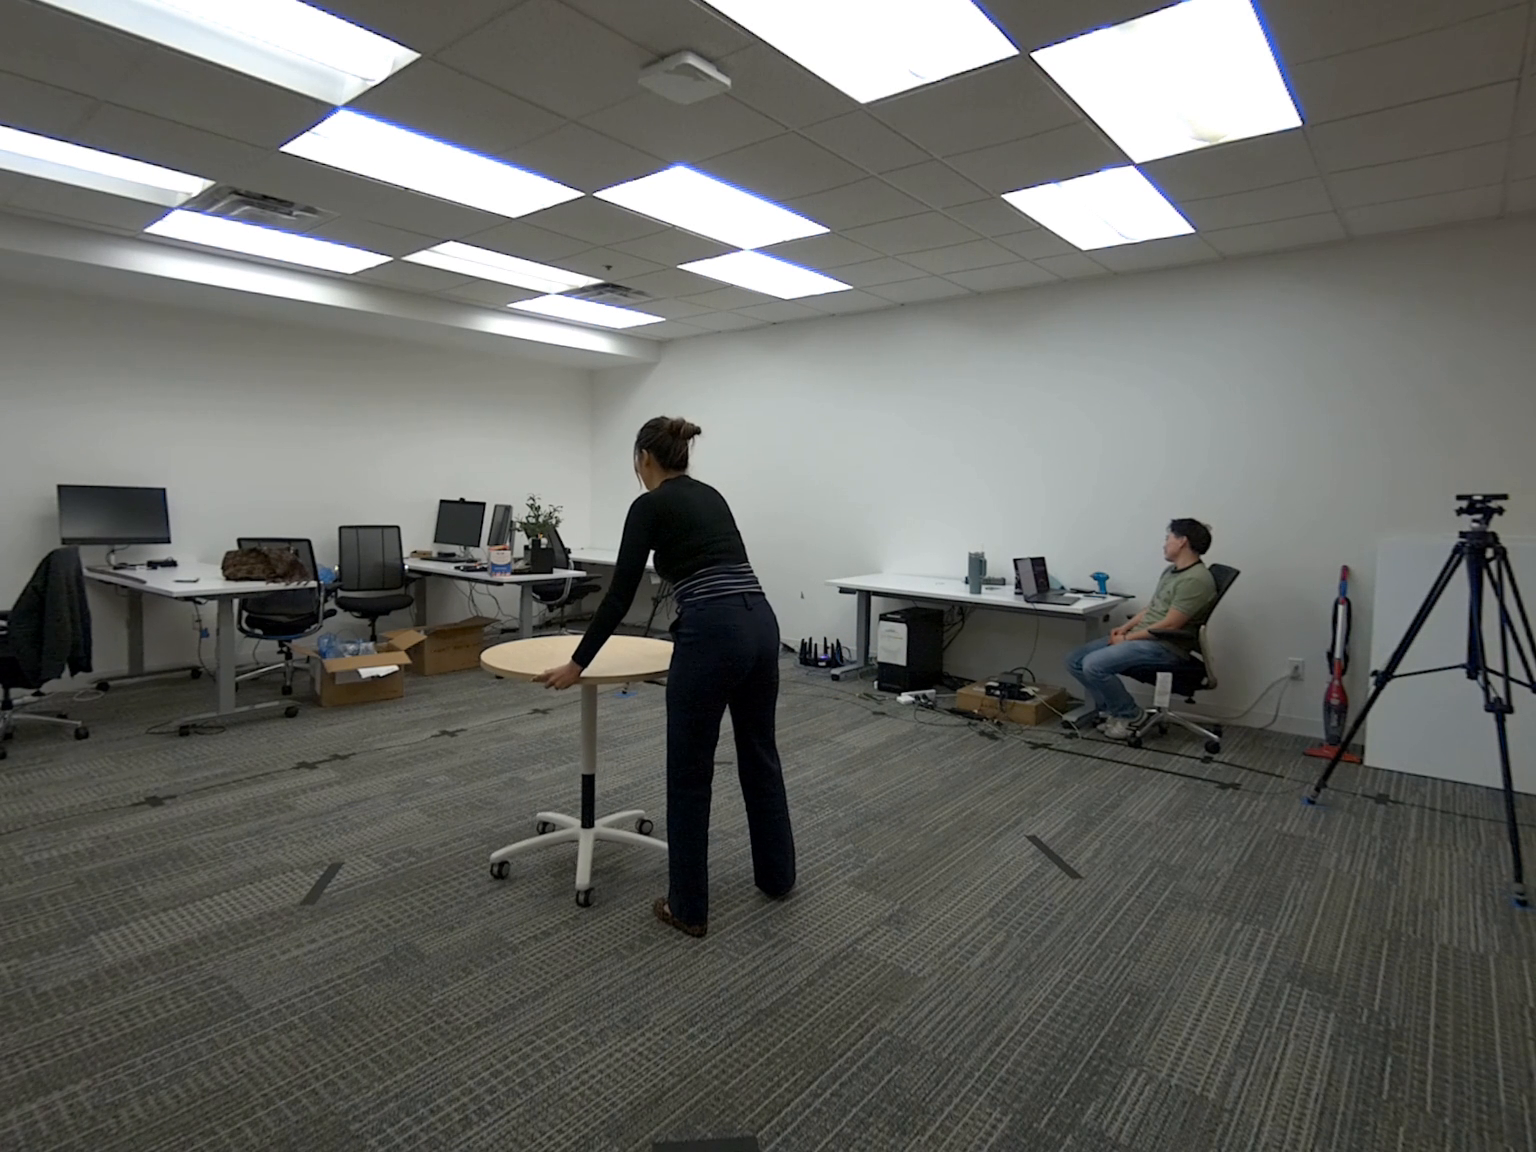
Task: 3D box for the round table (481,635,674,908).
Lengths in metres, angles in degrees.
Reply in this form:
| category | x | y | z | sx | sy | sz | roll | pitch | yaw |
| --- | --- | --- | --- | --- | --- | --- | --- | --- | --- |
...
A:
| category | x | y | z | sx | sy | sz | roll | pitch | yaw |
| --- | --- | --- | --- | --- | --- | --- | --- | --- | --- |
| round table | -0.661 | 0.670 | 3.112 | 0.763 | 0.792 | 0.767 | 1 | 4 | -2 |
